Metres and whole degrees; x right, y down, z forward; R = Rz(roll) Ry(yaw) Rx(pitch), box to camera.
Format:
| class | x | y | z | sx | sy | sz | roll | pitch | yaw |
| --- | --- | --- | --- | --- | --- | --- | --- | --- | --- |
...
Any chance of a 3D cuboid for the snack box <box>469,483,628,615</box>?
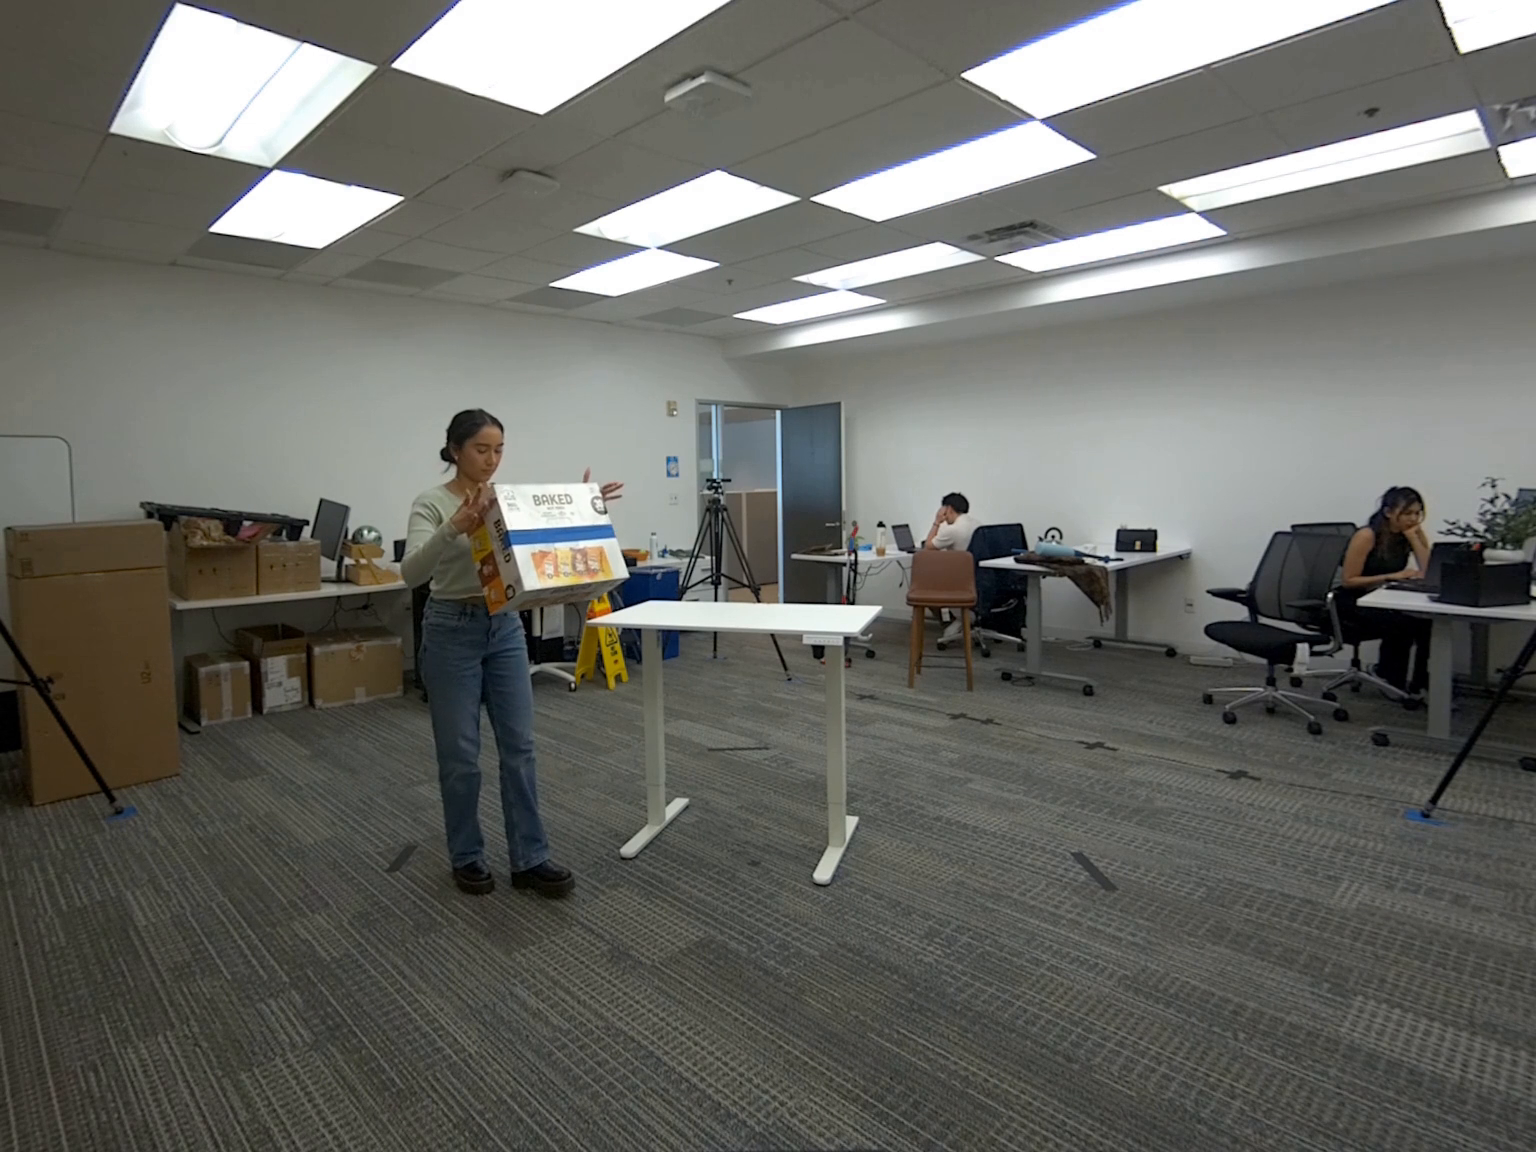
| class | x | y | z | sx | sy | sz | roll | pitch | yaw |
| --- | --- | --- | --- | --- | --- | --- | --- | --- | --- |
| snack box | -0.694 | -0.095 | 2.685 | 0.208 | 0.346 | 0.394 | -32 | -16 | 38 |
